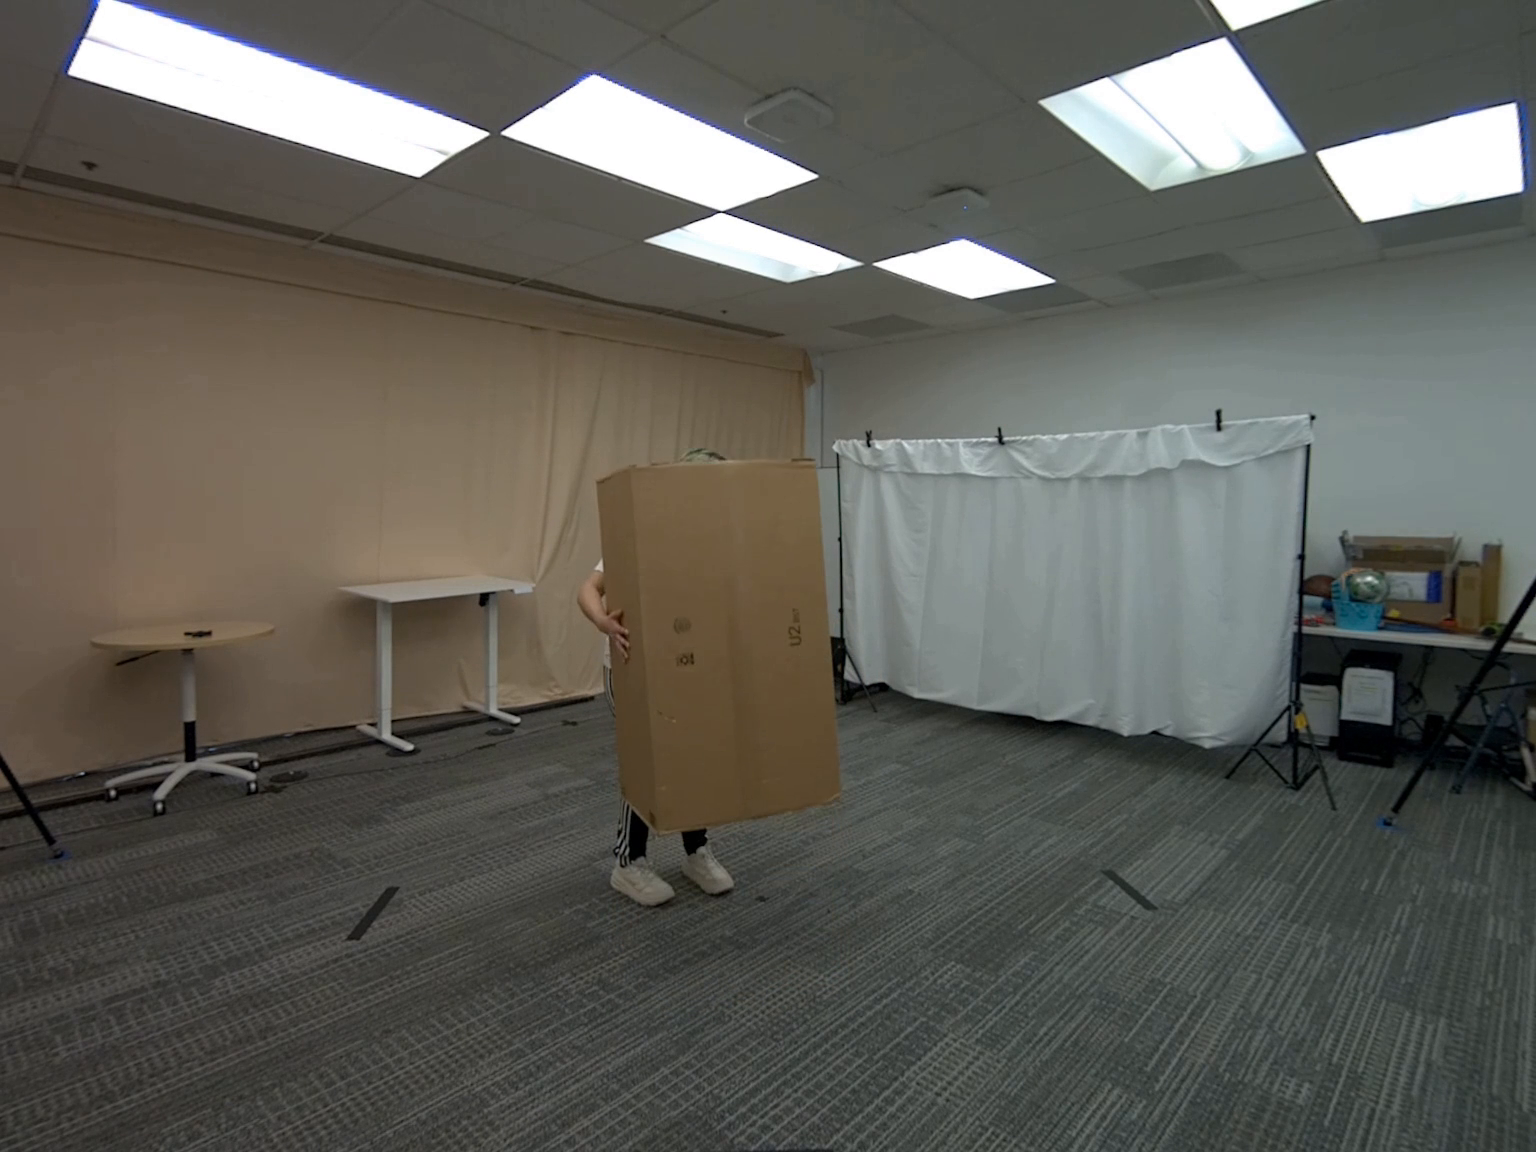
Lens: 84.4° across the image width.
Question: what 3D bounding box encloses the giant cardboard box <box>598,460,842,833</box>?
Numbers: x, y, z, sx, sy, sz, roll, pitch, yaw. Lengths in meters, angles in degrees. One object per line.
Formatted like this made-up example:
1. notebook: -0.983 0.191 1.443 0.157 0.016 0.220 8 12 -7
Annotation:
1. giant cardboard box: -0.160 0.195 2.583 0.571 1.026 0.457 -4 1 -23
